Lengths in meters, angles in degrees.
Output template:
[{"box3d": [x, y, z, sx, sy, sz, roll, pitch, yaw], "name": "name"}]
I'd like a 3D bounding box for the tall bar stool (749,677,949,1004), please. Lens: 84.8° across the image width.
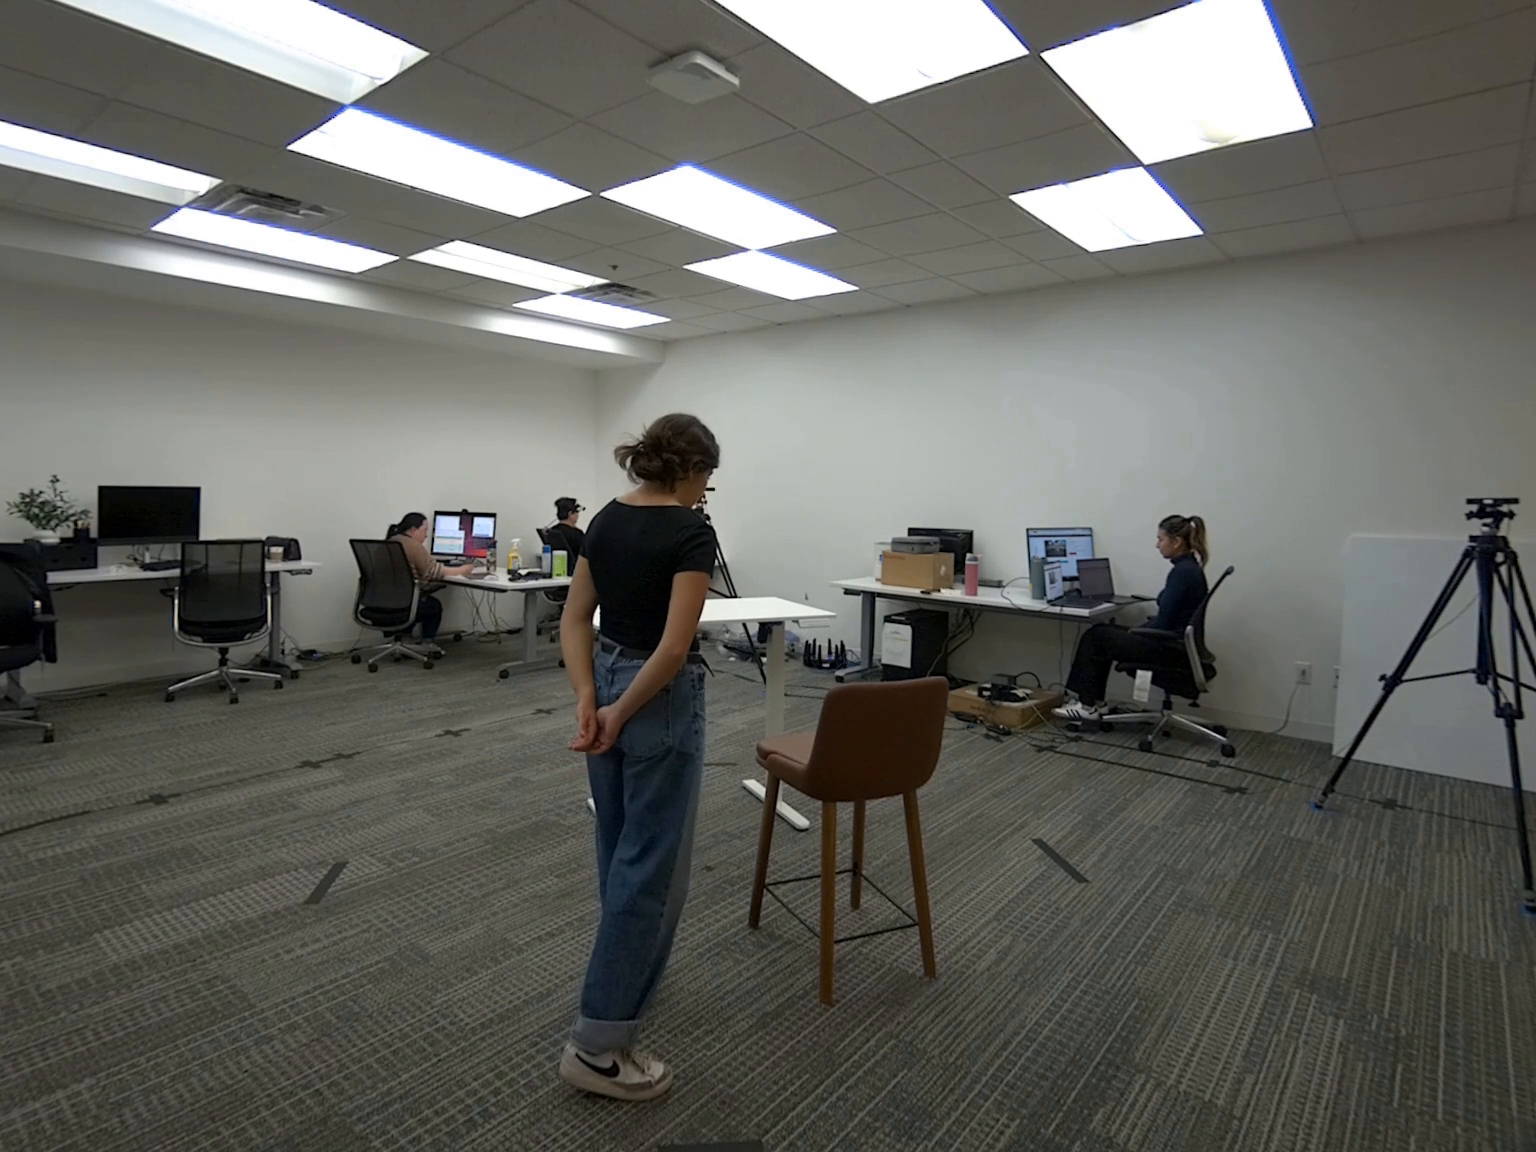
[{"box3d": [0.226, 0.696, 2.555, 0.446, 0.886, 0.481, 0, 5, -25], "name": "tall bar stool"}]
